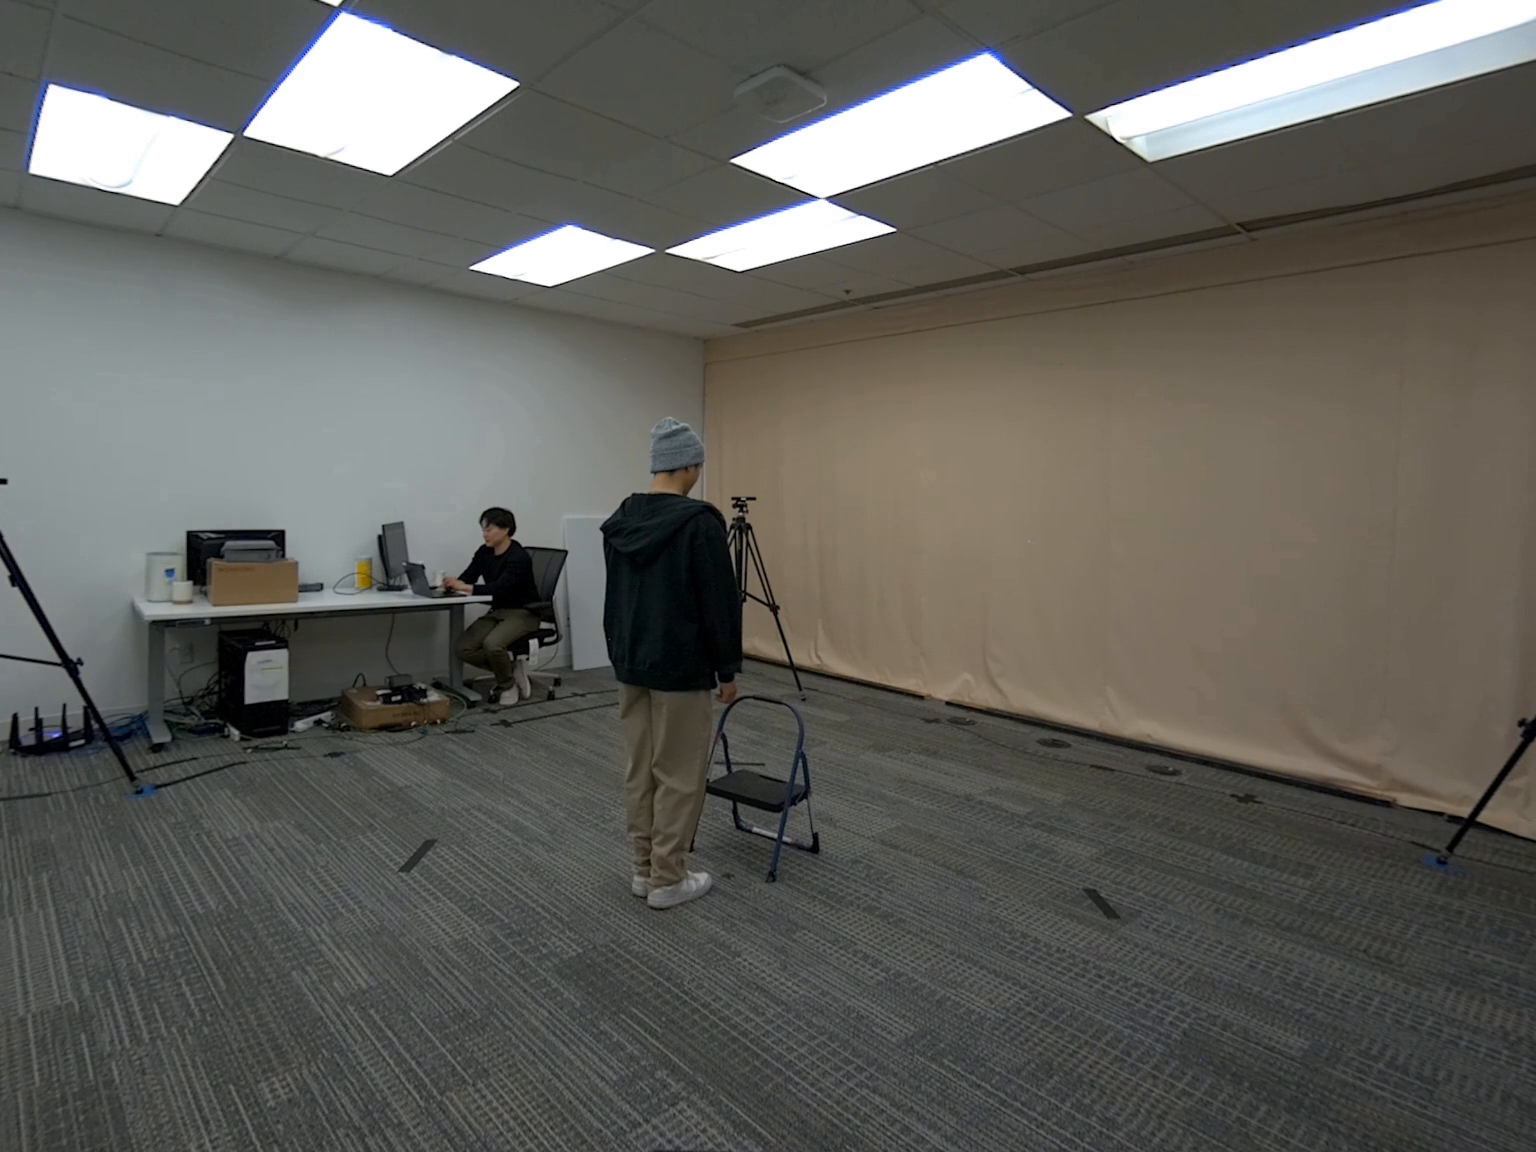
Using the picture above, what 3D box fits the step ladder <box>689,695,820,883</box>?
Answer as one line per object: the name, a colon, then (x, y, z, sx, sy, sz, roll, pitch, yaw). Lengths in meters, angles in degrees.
step ladder: (-0.056, 0.787, 3.307, 0.441, 0.604, 0.342, 4, 4, 36)
